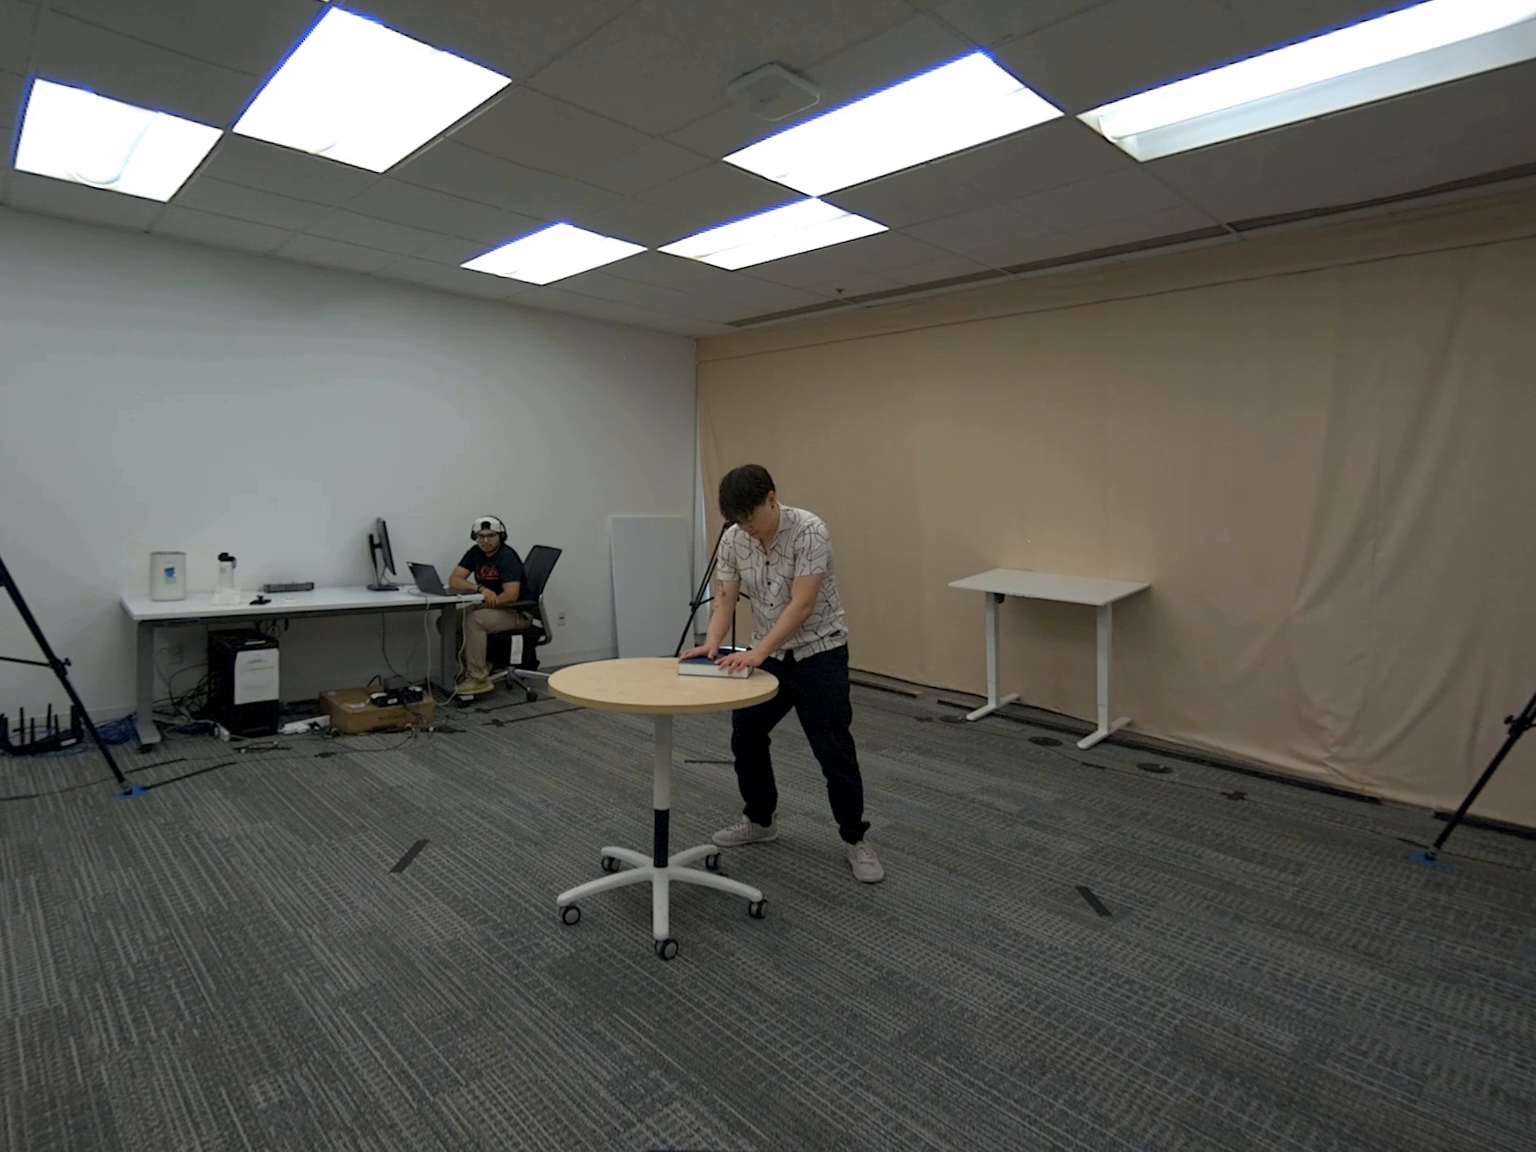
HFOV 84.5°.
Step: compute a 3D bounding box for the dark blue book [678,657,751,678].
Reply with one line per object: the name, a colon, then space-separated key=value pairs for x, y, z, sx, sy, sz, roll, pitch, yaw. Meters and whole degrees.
dark blue book: x=-0.189 y=0.326 z=2.937 sx=0.247 sy=0.045 sz=0.163 roll=3 pitch=4 yaw=7
